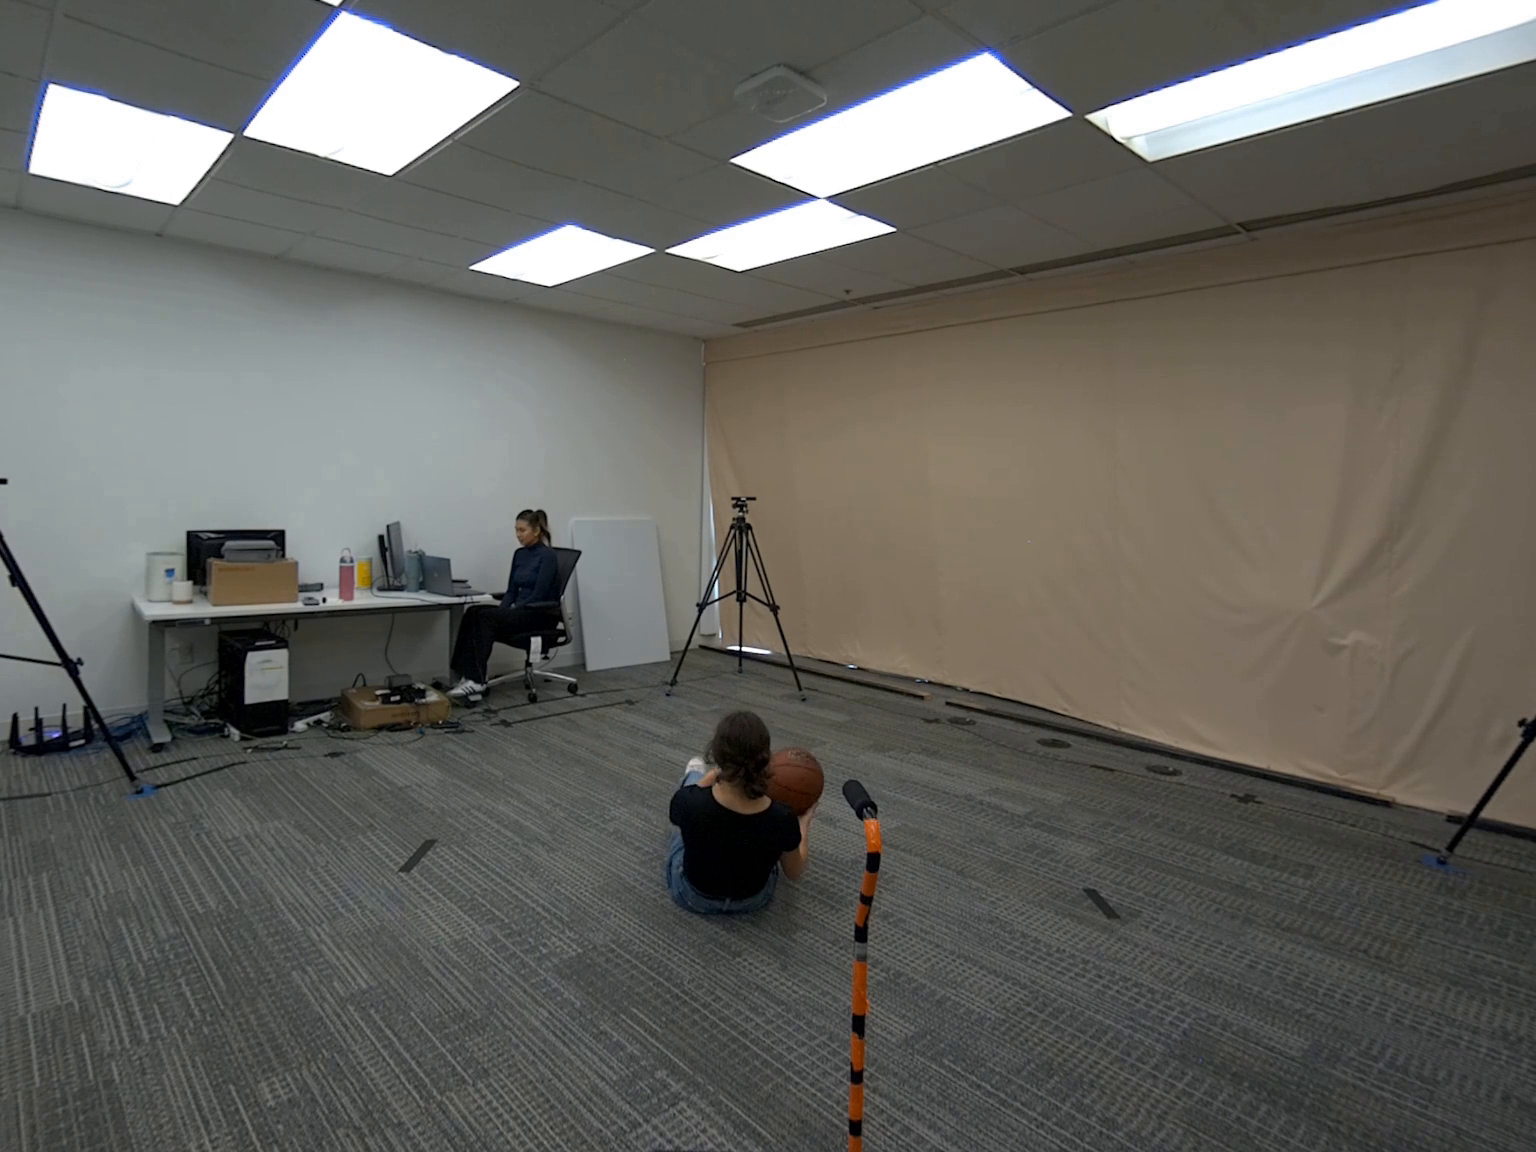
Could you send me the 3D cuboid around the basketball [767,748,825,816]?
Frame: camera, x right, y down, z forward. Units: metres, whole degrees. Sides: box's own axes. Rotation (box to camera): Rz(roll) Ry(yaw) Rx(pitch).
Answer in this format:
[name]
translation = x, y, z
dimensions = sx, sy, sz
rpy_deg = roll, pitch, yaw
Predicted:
[basketball]
translation = 0.082, 0.762, 3.147
dimensions = 0.236, 0.235, 0.237
rpy_deg = 1, 4, -1
